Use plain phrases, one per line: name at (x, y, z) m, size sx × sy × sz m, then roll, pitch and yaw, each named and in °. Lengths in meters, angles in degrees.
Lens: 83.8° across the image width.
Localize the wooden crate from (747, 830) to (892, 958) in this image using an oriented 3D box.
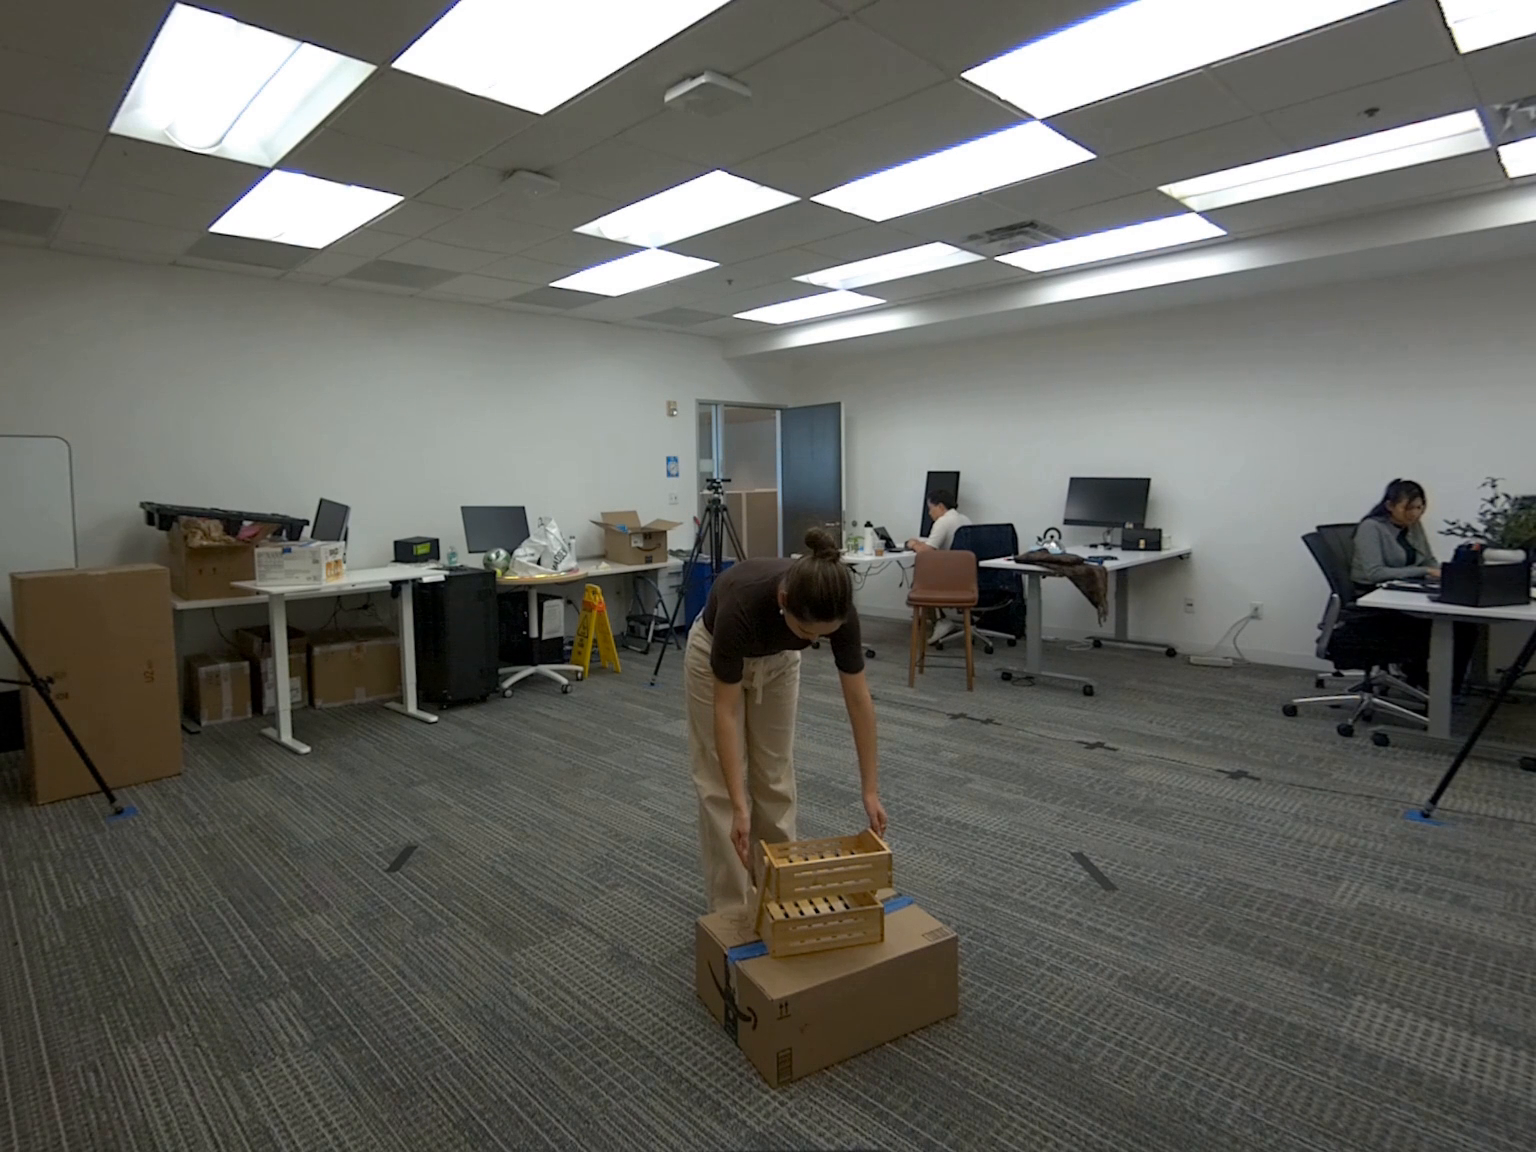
wooden crate at (0.126, 0.790, 2.249) m, size 0.320 × 0.272 × 0.307 m, roll -3°, pitch 6°, yaw -14°
